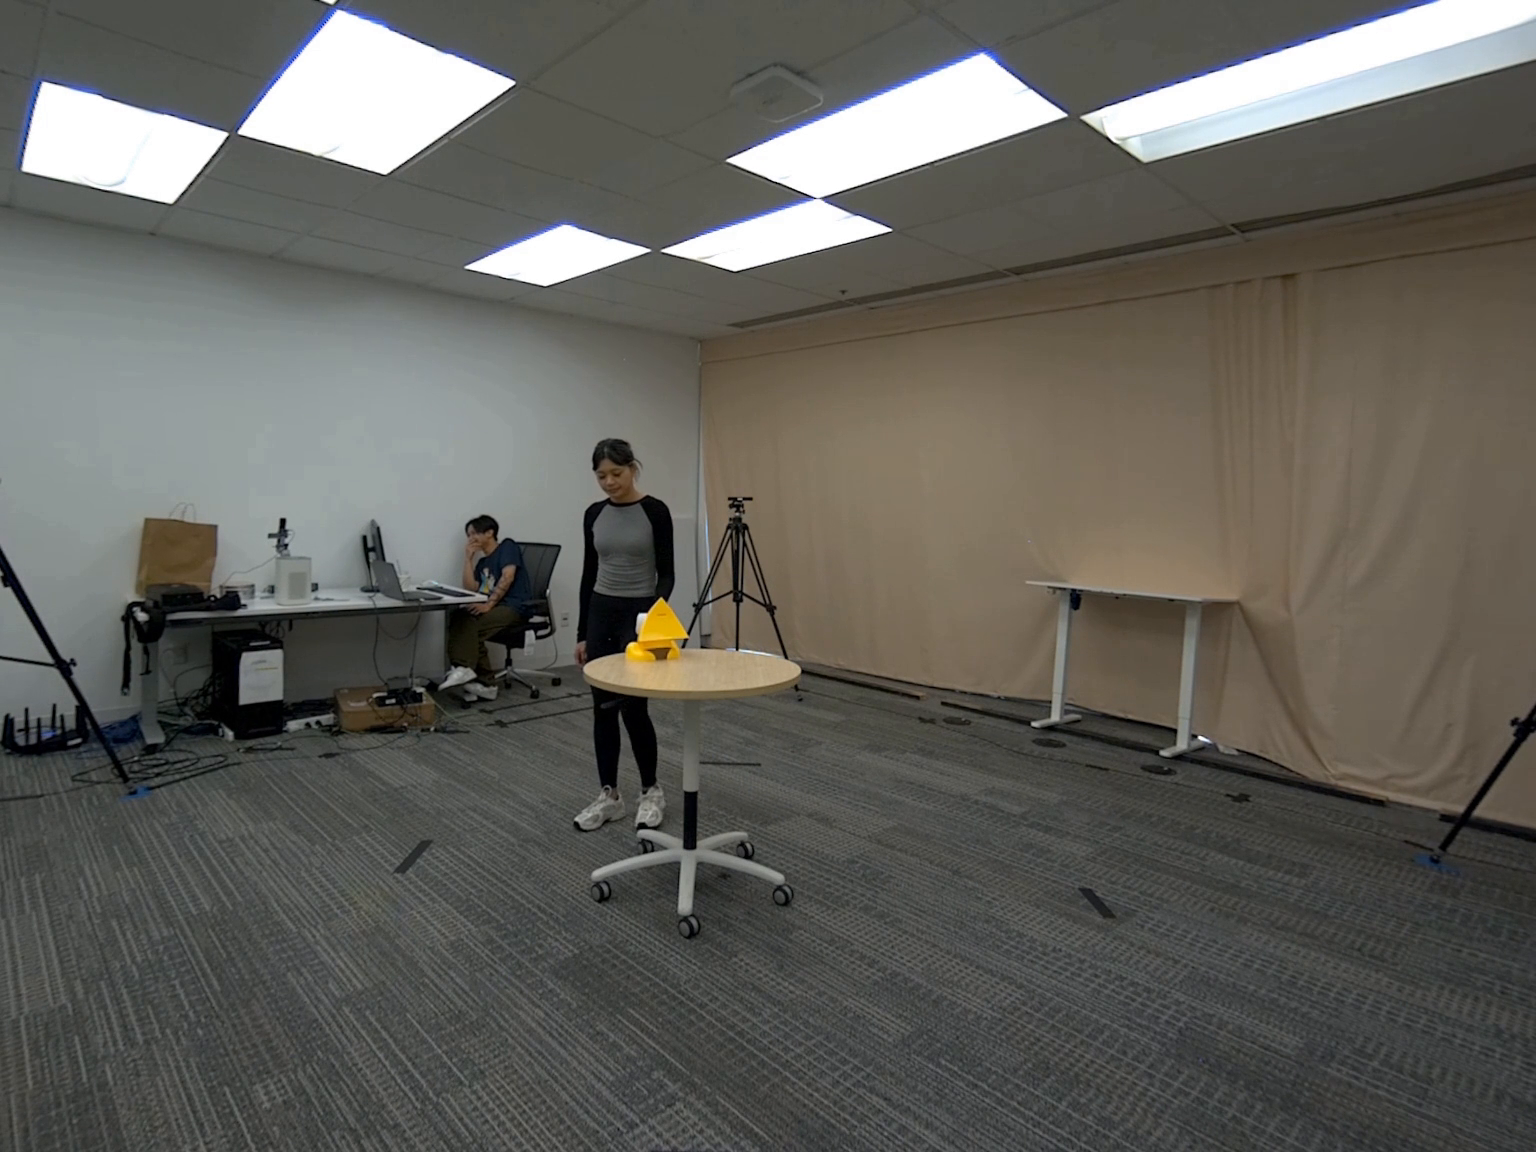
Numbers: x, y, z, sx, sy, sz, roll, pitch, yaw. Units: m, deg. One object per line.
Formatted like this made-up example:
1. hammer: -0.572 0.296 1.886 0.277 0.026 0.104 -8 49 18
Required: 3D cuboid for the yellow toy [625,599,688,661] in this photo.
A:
1. yellow toy: -0.440 0.194 3.165 0.200 0.230 0.197 0 2 -32
